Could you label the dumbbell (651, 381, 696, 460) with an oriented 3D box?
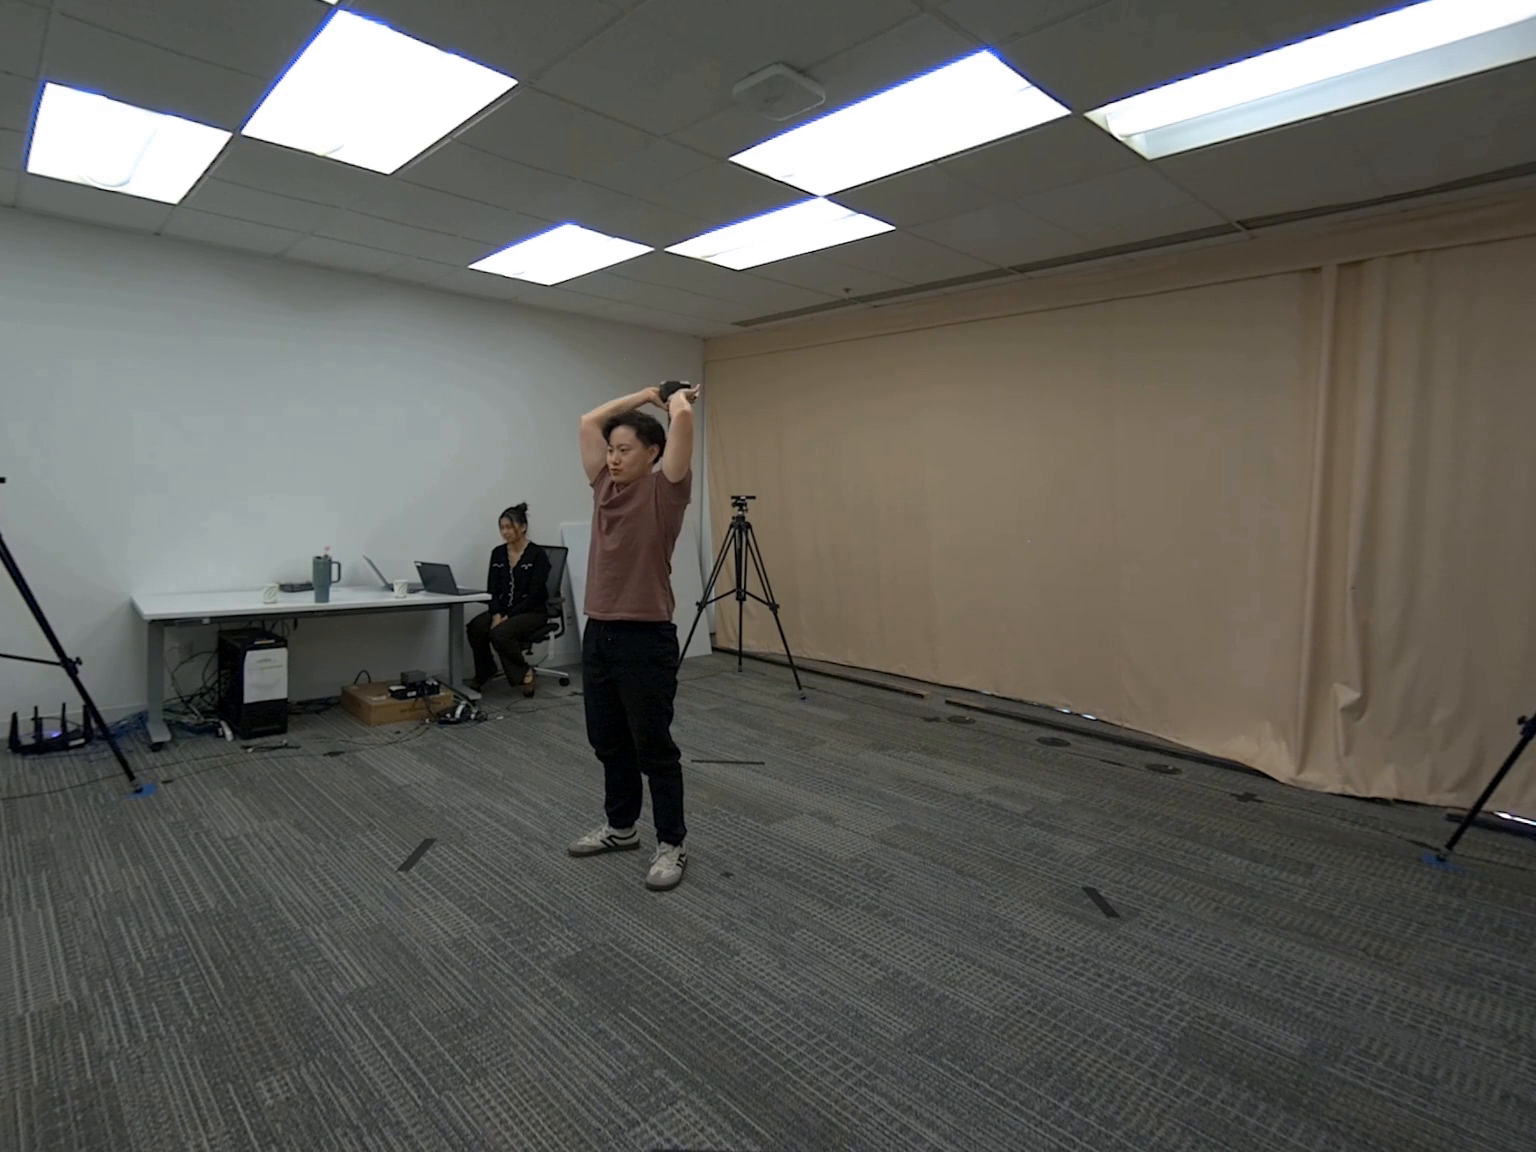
[{"bbox_3d":[-0.364,-0.596,3.241,0.111,0.291,0.120,8,12,43],"label":"dumbbell"}]
